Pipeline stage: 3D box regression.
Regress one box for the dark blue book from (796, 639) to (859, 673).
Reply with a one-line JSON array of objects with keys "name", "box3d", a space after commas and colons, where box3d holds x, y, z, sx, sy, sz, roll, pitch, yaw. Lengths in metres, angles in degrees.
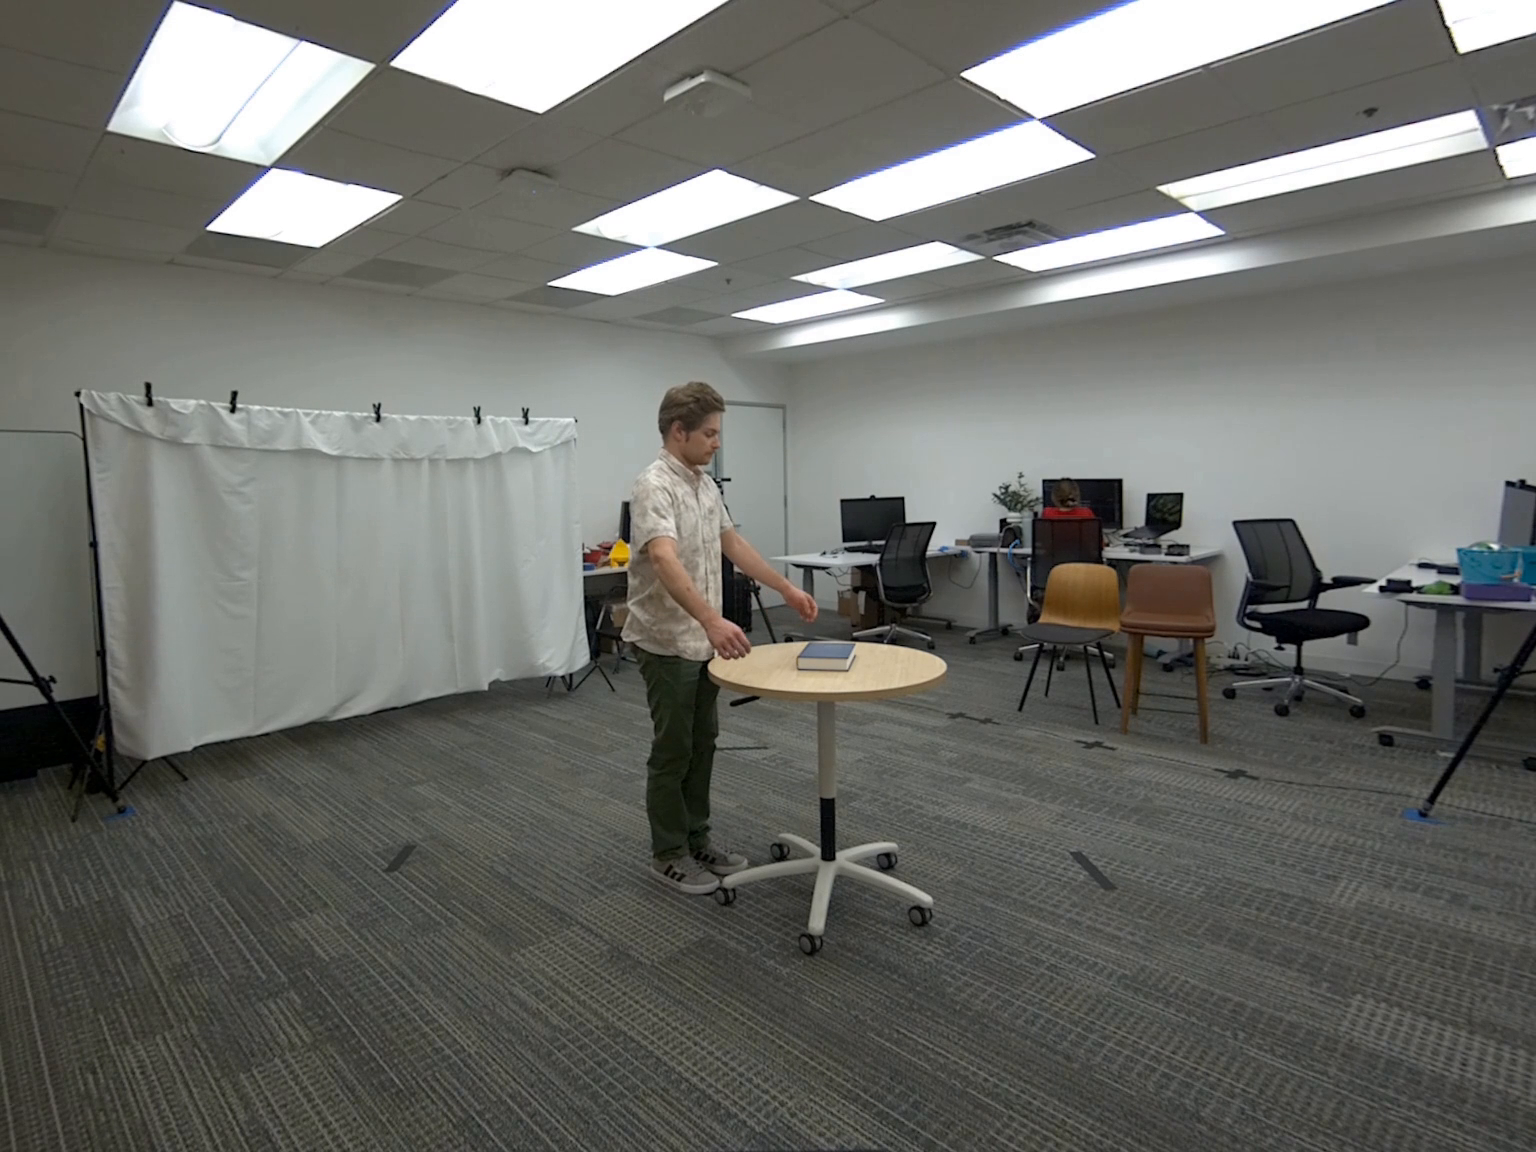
[{"name": "dark blue book", "box3d": [0.198, 0.261, 2.776, 0.165, 0.045, 0.243, 1, 6, 12]}]
